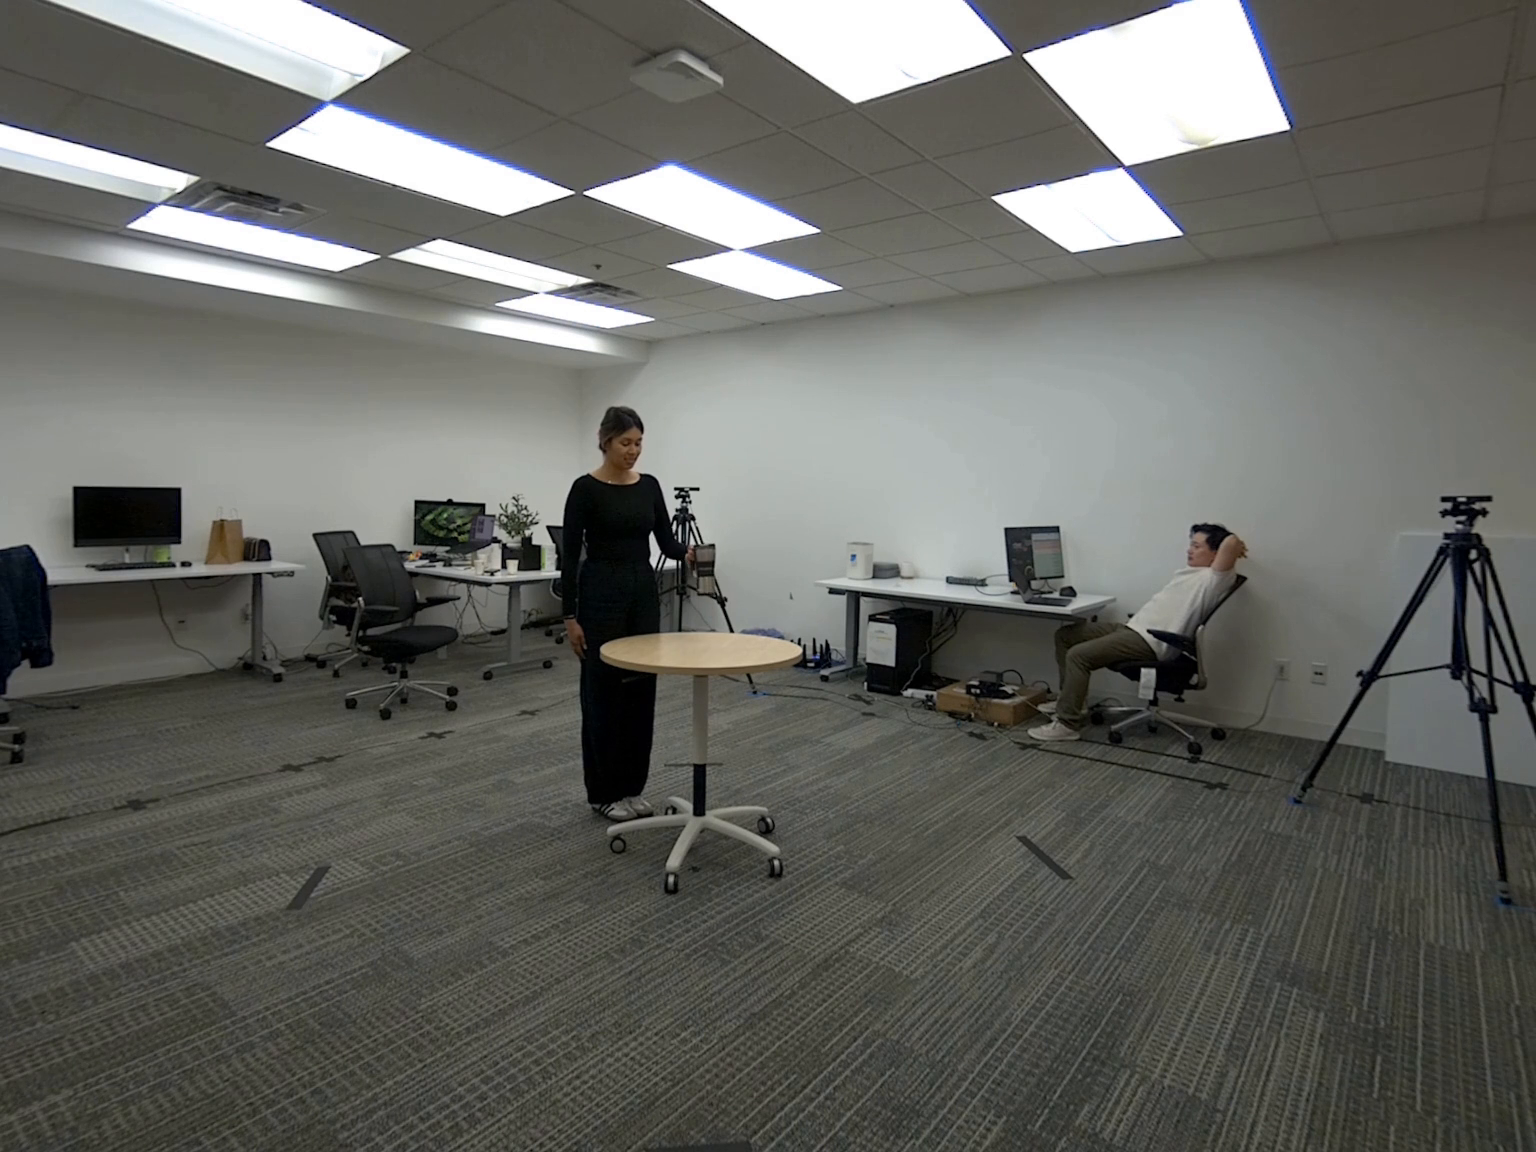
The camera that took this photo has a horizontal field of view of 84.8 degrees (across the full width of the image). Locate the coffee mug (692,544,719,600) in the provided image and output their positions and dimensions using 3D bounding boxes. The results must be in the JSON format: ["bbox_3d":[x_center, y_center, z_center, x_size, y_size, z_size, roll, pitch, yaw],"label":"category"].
[{"bbox_3d":[-0.264,-0.018,3.320,0.085,0.203,0.125,-4,0,-36],"label":"coffee mug"}]
